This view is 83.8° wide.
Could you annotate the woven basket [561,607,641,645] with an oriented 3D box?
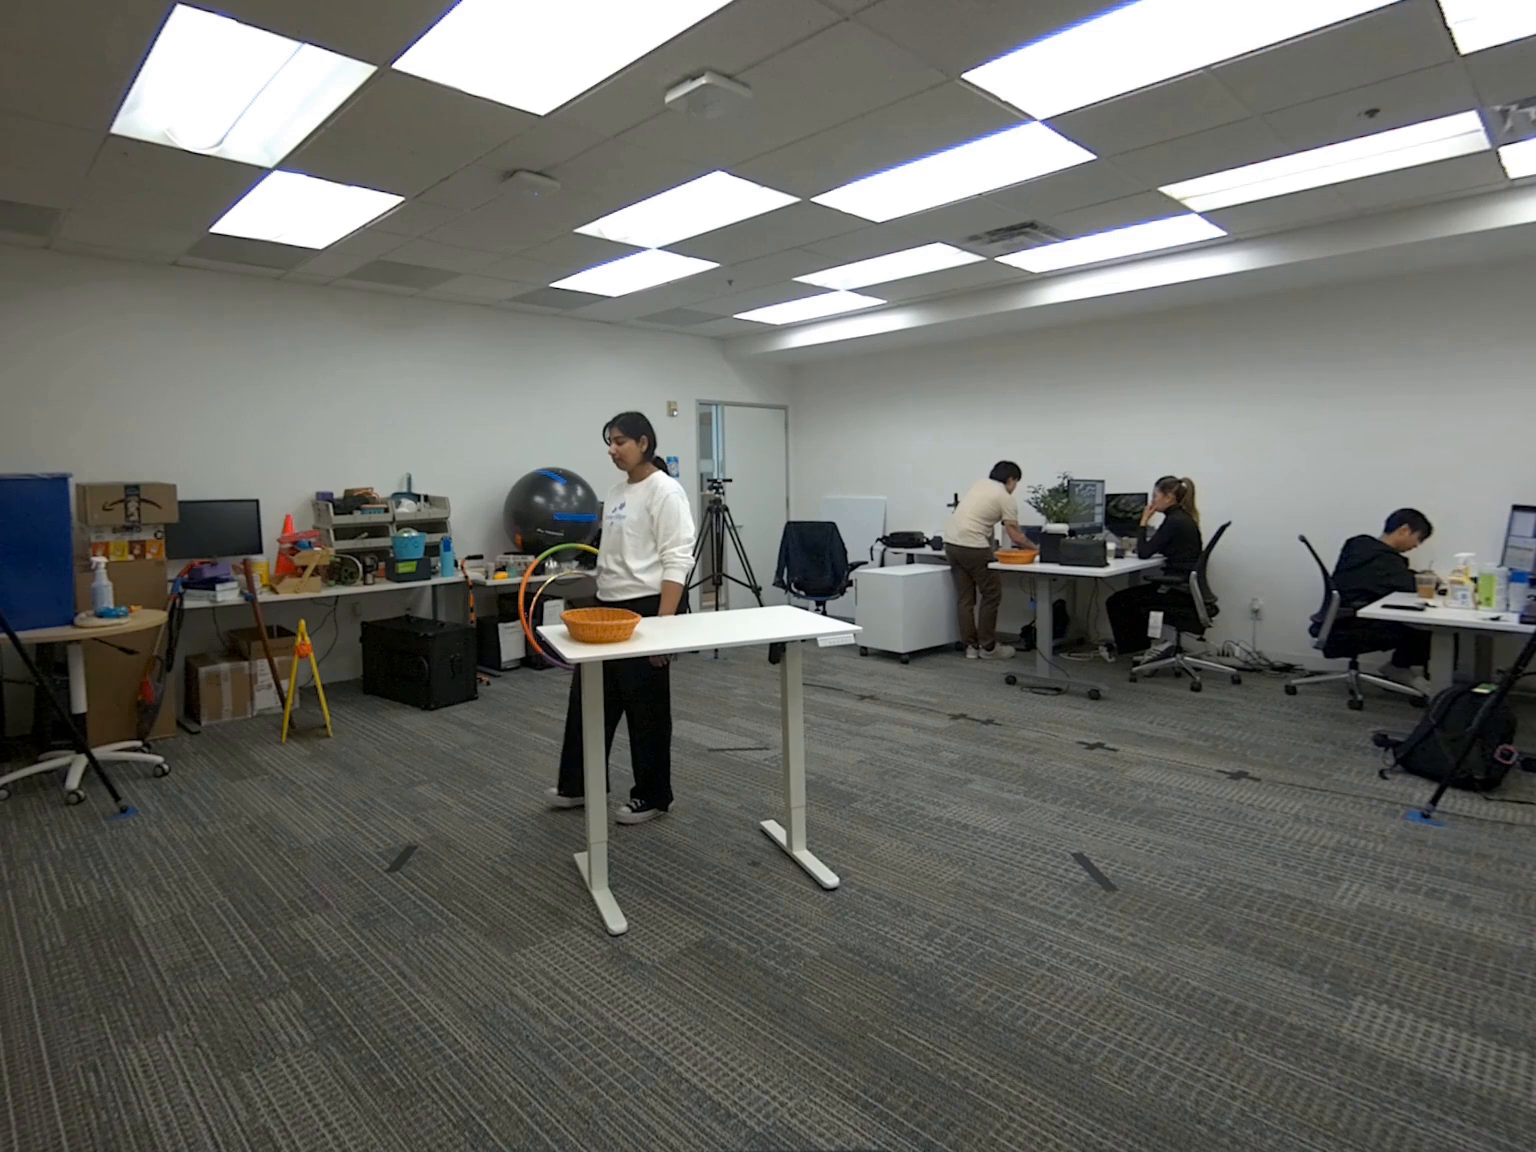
[{"bbox_3d":[-0.577,0.173,2.872,0.249,0.073,0.356,-1,6,-14],"label":"woven basket"}]
